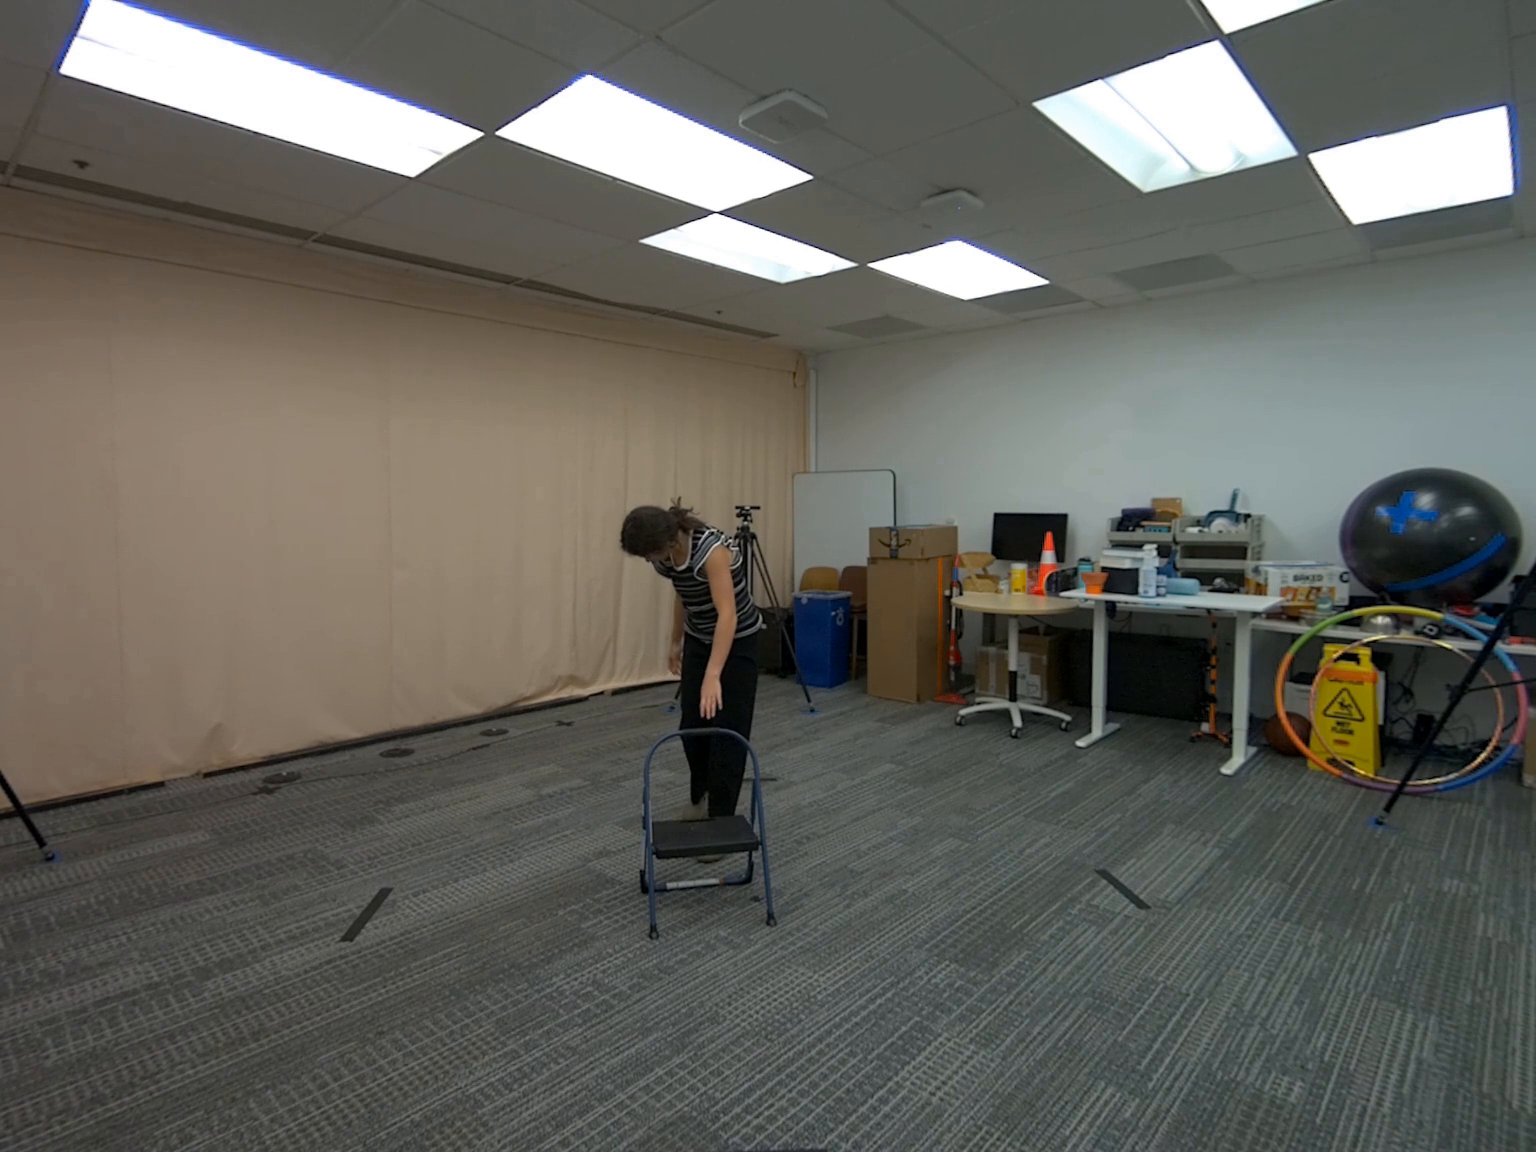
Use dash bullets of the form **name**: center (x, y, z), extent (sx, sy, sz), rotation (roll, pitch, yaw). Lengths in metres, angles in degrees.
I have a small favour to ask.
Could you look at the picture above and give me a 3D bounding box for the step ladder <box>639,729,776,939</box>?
- **step ladder**: center (-0.218, 0.846, 2.914), extent (0.425, 0.605, 0.355), rotation (-1, 3, -14)
